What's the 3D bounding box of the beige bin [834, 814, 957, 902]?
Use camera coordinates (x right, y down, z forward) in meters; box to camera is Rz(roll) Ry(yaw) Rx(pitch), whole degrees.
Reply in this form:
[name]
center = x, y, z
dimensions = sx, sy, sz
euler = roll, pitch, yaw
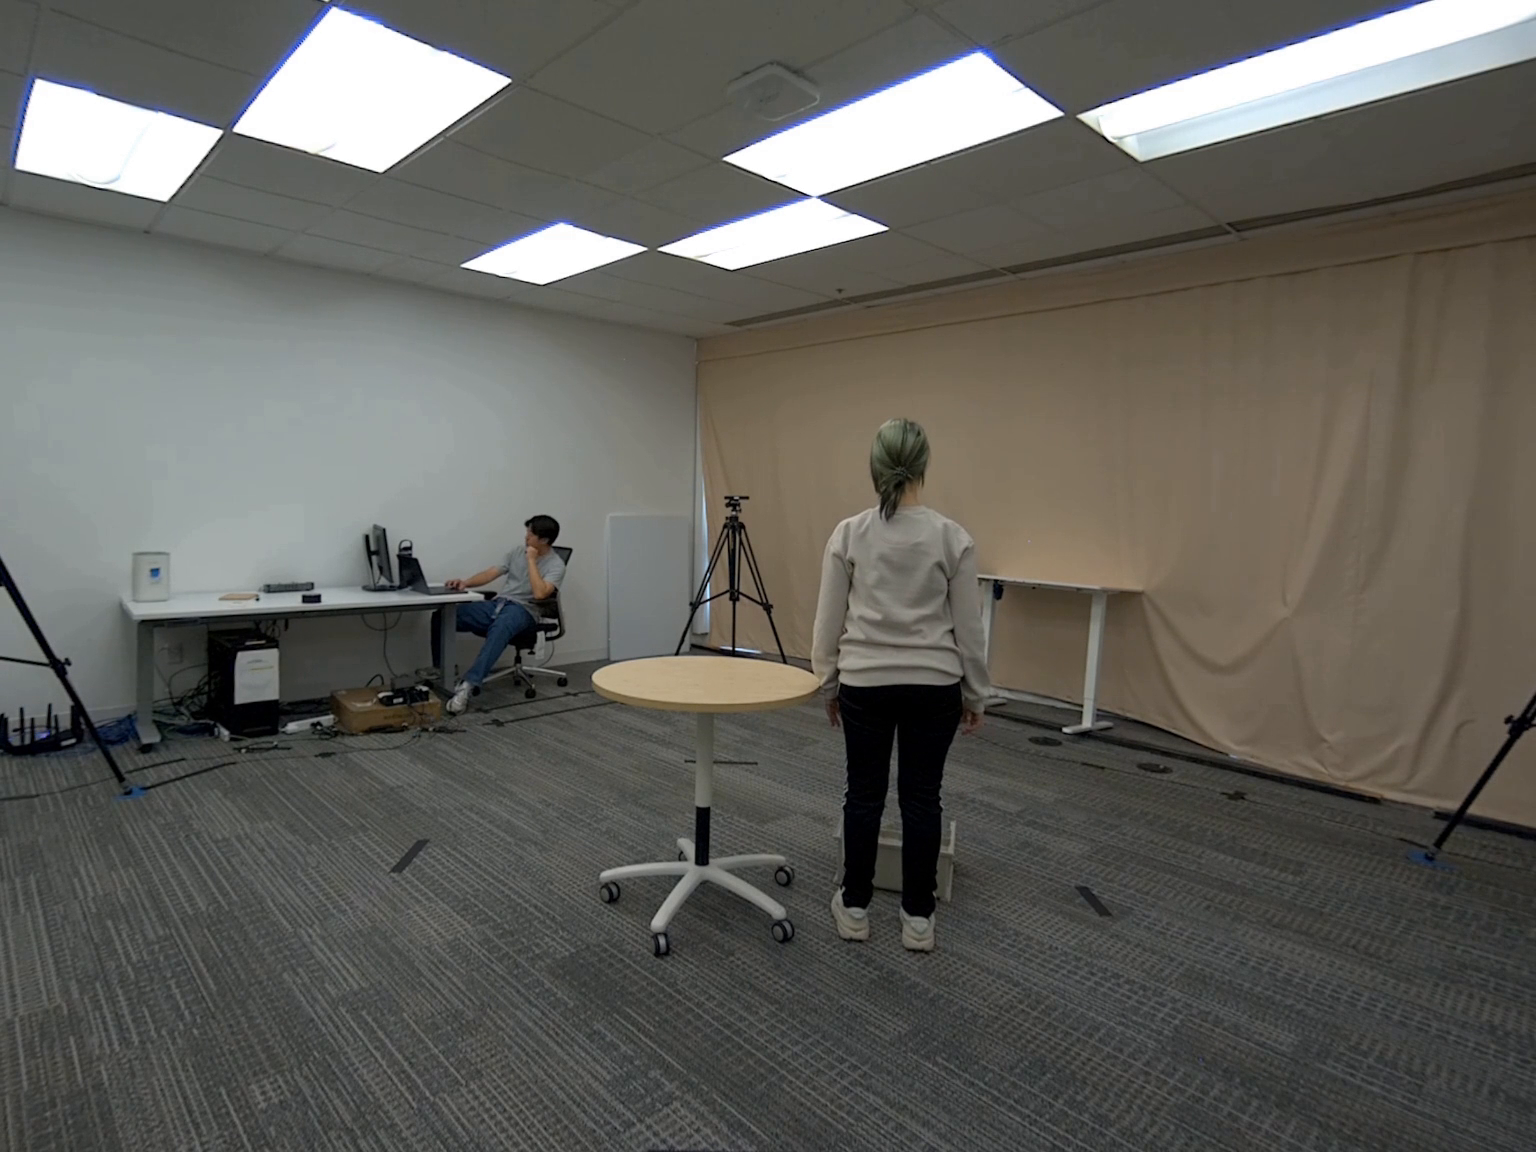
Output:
[beige bin]
center = 0.479, 1.029, 3.160
dimensions = 0.428, 0.188, 0.374
euler = 4, 6, 15
